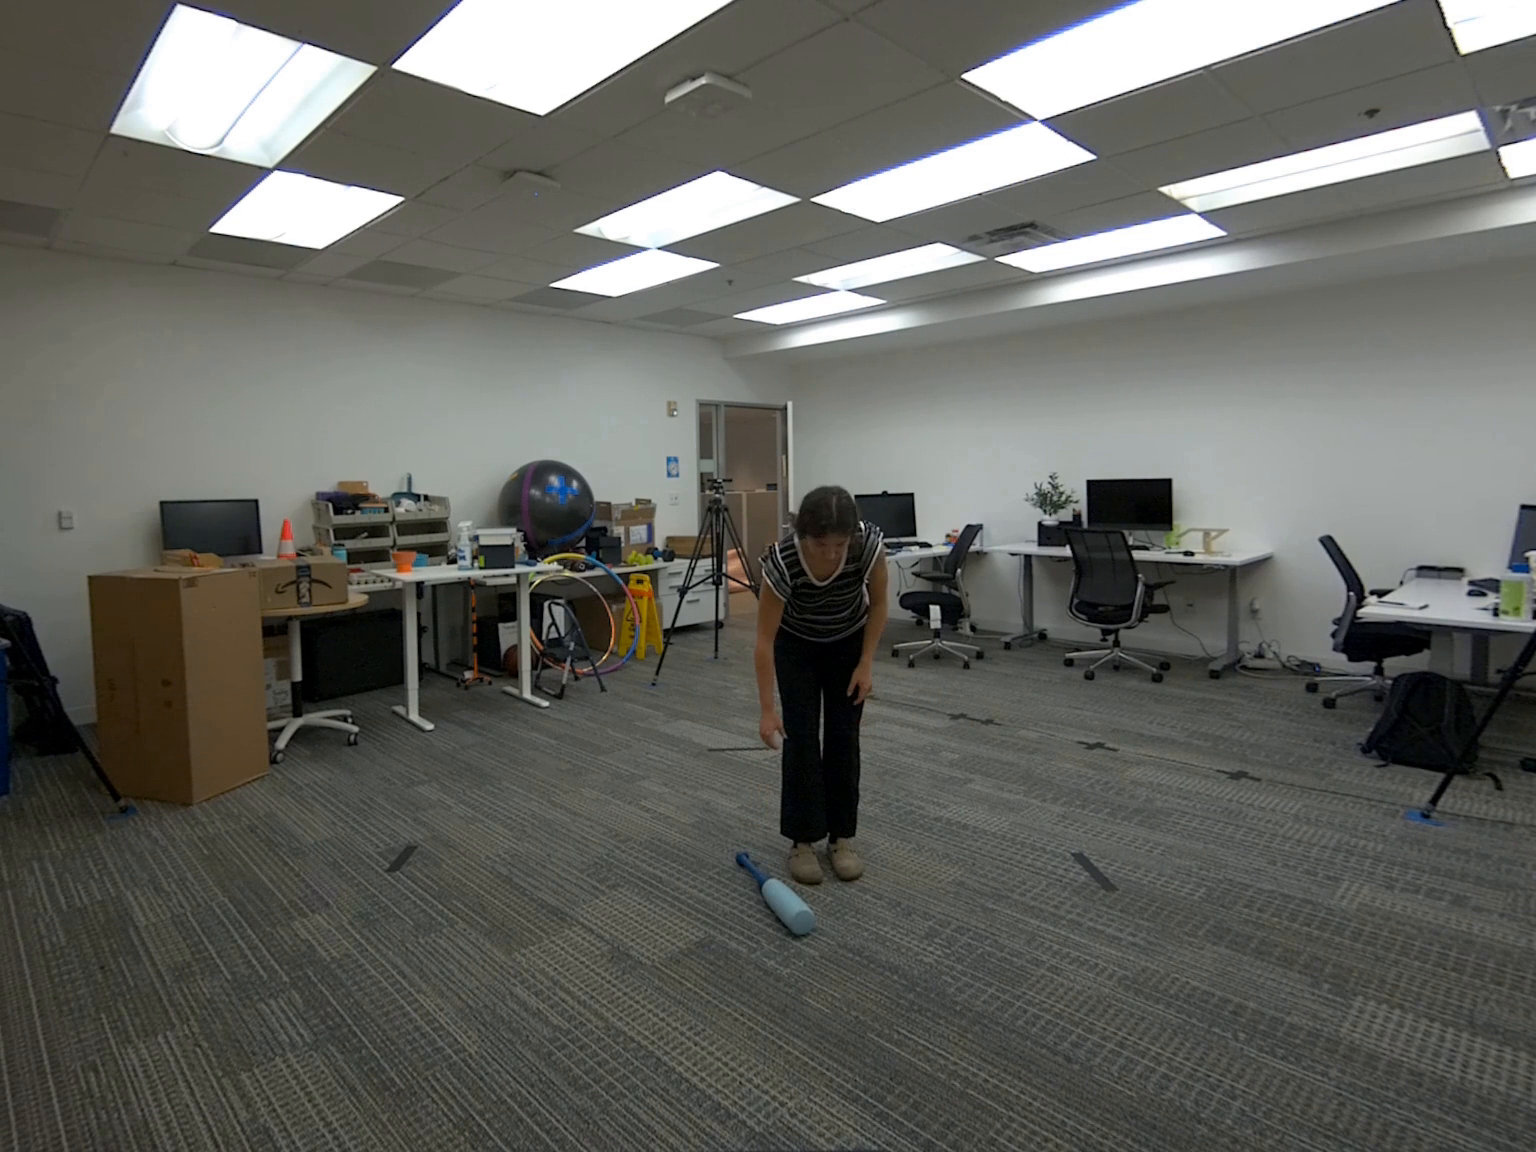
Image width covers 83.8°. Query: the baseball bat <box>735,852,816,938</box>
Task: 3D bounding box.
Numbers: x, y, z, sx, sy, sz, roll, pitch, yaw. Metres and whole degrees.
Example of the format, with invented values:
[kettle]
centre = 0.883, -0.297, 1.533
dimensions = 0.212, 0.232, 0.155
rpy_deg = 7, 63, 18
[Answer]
[baseball bat]
centre = 0.004, 1.039, 2.842
dimensions = 0.087, 0.089, 0.554
rpy_deg = -3, 4, -22
